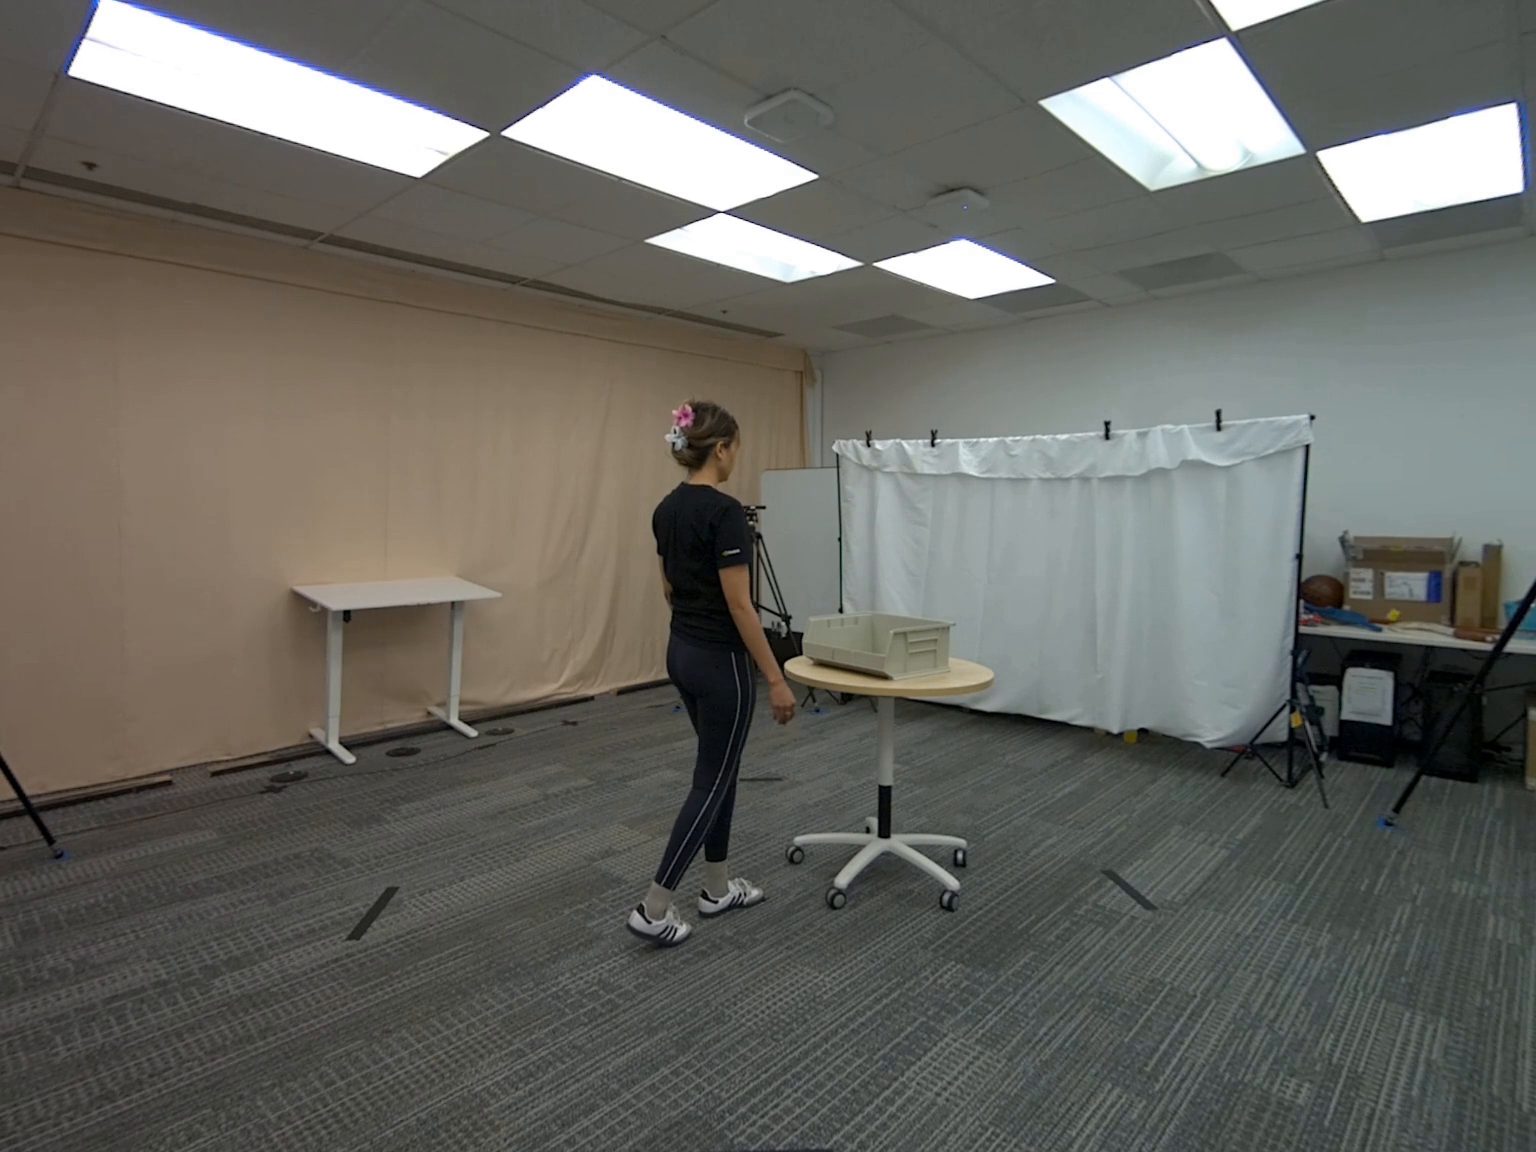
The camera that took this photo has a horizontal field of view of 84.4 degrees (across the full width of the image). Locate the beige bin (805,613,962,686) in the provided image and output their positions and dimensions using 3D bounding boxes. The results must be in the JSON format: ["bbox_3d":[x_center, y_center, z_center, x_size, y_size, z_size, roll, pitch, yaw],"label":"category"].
[{"bbox_3d":[0.422,0.258,3.147,0.366,0.189,0.436,-1,3,-40],"label":"beige bin"}]
